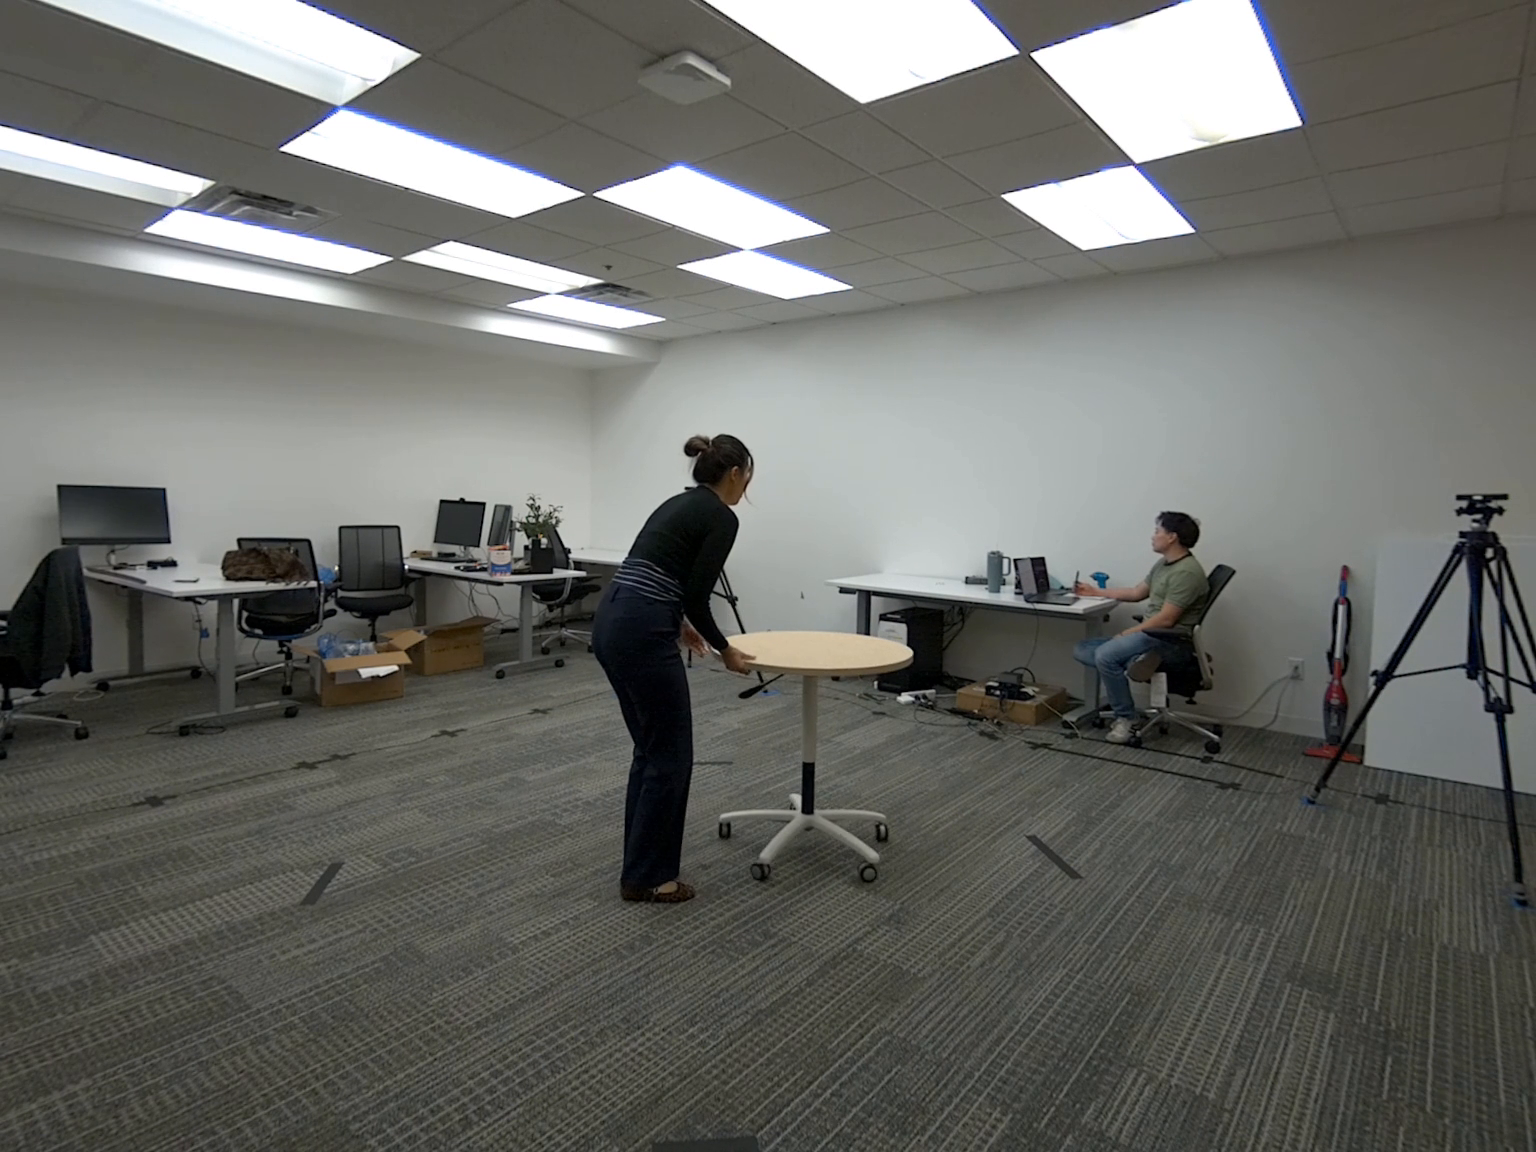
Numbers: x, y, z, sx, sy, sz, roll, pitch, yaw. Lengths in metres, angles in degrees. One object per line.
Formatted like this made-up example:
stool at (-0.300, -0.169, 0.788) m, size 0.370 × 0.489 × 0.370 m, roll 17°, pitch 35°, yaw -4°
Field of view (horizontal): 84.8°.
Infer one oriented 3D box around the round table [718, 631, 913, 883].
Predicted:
round table at (0.145, 0.665, 3.282) m, size 0.763 × 0.791 × 0.768 m, roll 1°, pitch 4°, yaw -2°
